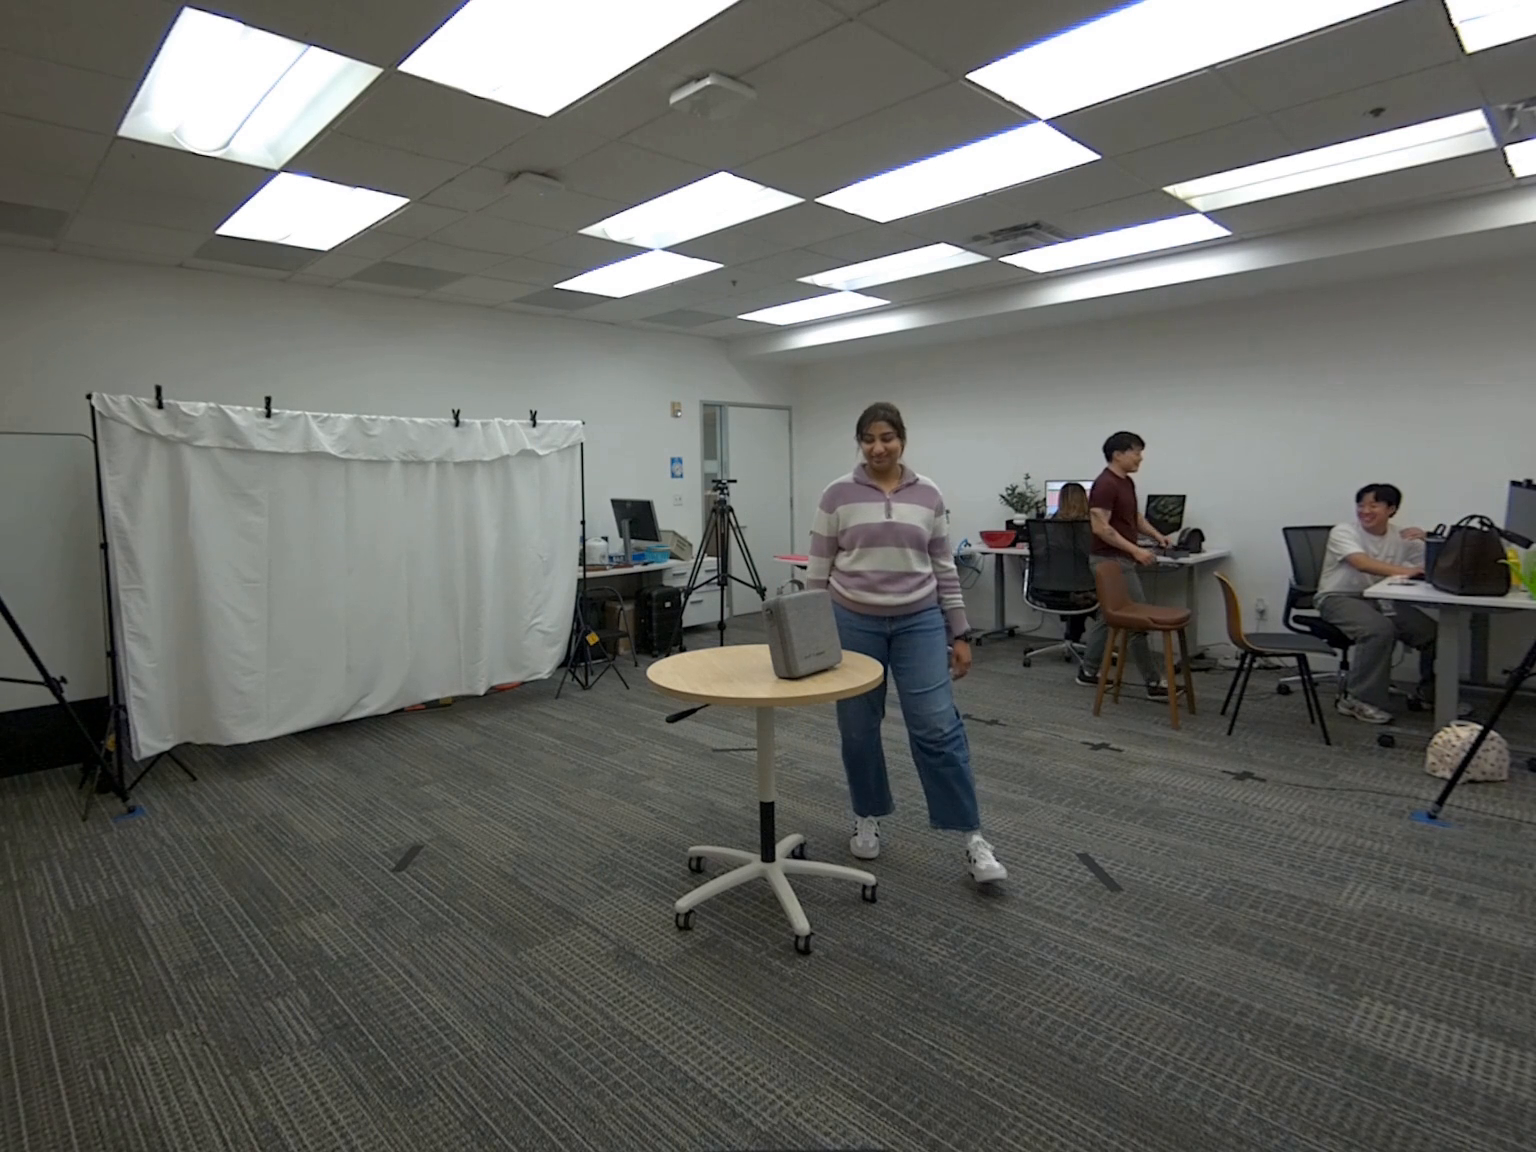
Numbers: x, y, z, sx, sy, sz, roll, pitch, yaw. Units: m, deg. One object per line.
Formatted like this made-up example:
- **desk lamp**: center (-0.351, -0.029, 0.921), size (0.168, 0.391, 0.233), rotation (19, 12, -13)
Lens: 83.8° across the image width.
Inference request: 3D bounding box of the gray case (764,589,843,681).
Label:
- **gray case**: center (0.111, 0.174, 2.692), size (0.106, 0.262, 0.250), rotation (-16, -6, 42)
